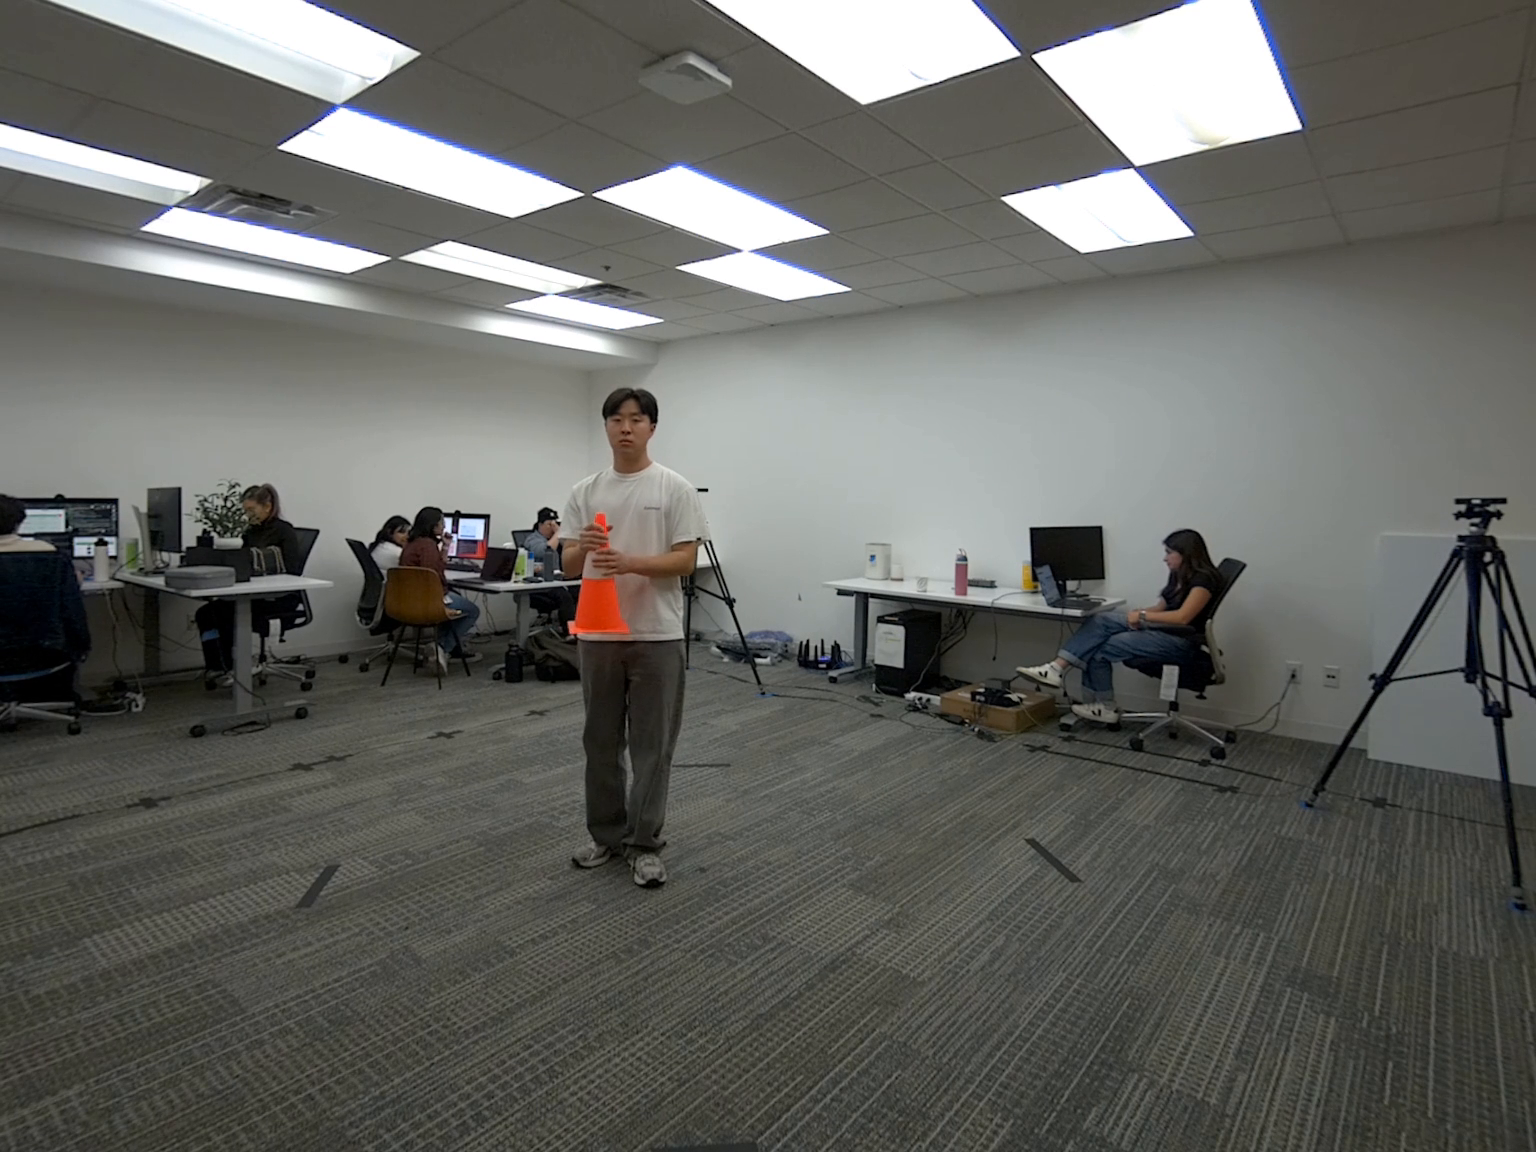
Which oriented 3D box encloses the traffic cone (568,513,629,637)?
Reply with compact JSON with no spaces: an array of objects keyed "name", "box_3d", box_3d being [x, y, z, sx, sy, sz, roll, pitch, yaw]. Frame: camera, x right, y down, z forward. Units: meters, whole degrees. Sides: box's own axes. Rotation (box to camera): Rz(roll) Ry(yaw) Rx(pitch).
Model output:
[{"name":"traffic cone","box_3d":[-0.578,-0.025,2.845,0.197,0.383,0.212,2,4,-42]}]
